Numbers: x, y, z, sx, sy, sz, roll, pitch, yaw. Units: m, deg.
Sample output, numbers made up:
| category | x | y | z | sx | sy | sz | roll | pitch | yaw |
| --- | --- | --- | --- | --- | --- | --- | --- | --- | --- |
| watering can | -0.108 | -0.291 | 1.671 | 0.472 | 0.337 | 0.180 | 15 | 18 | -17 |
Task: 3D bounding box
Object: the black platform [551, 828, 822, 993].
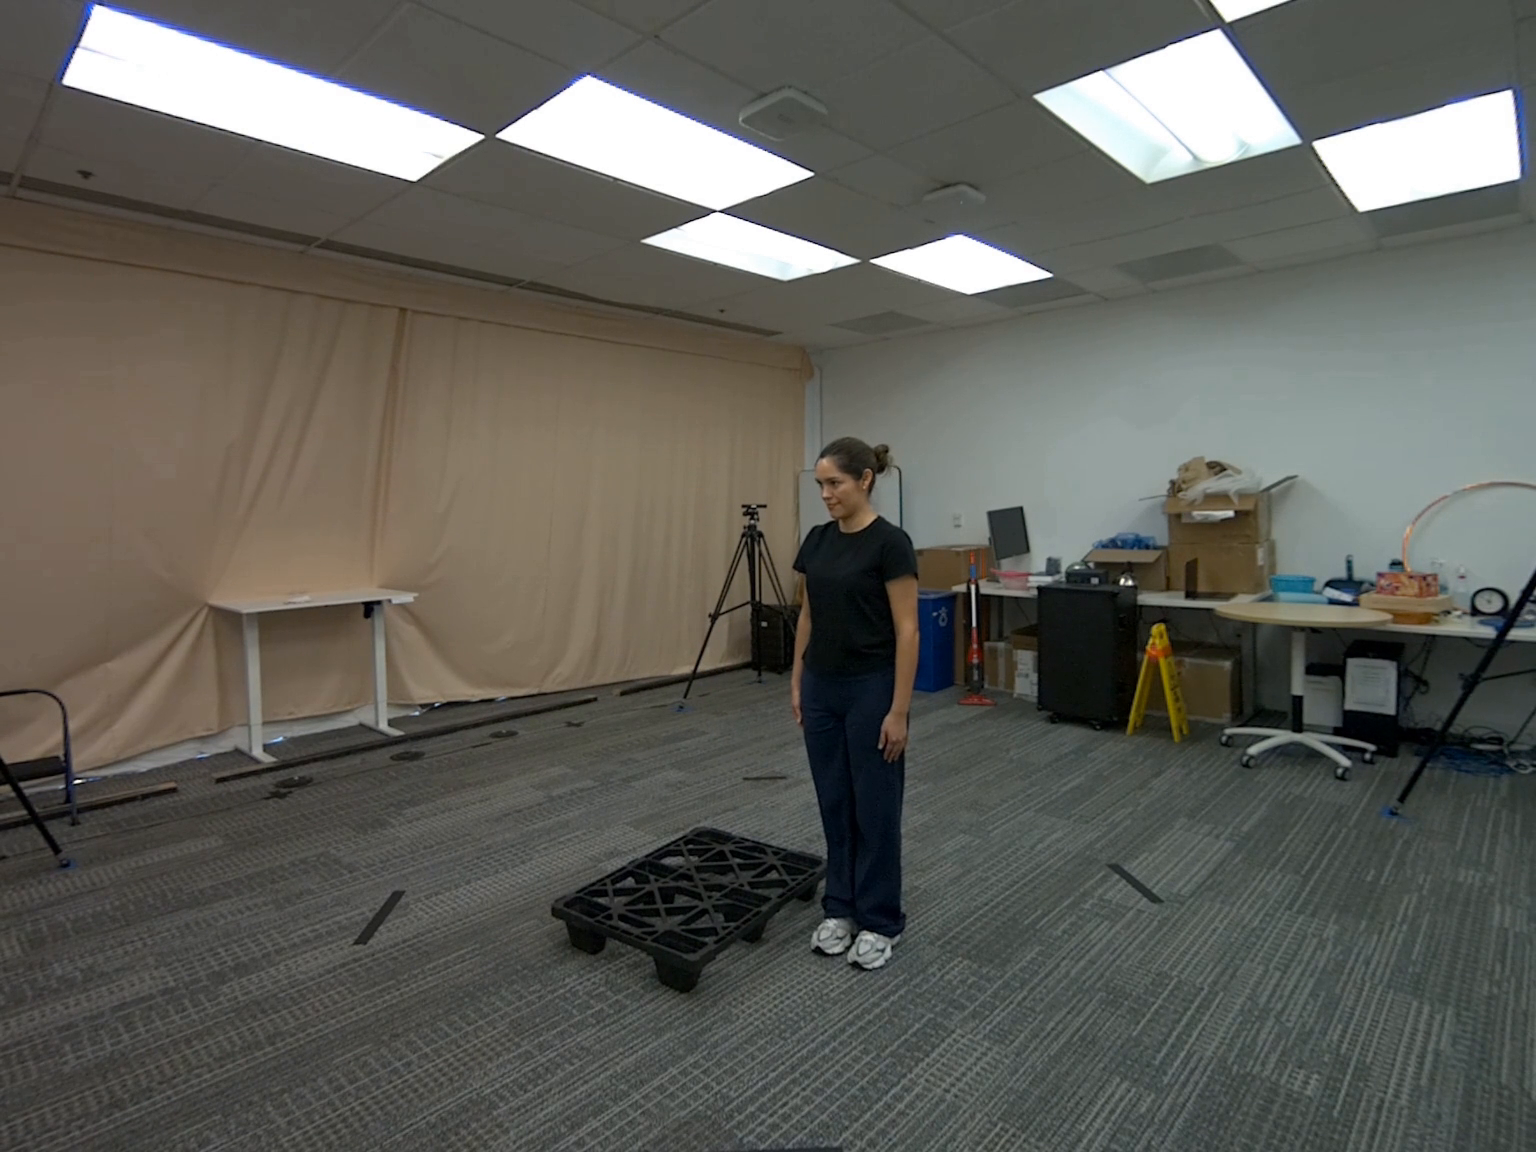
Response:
| category | x | y | z | sx | sy | sz | roll | pitch | yaw |
| --- | --- | --- | --- | --- | --- | --- | --- | --- | --- |
| black platform | -0.210 | 1.093 | 2.830 | 0.624 | 0.143 | 0.783 | 3 | 7 | 35 |
